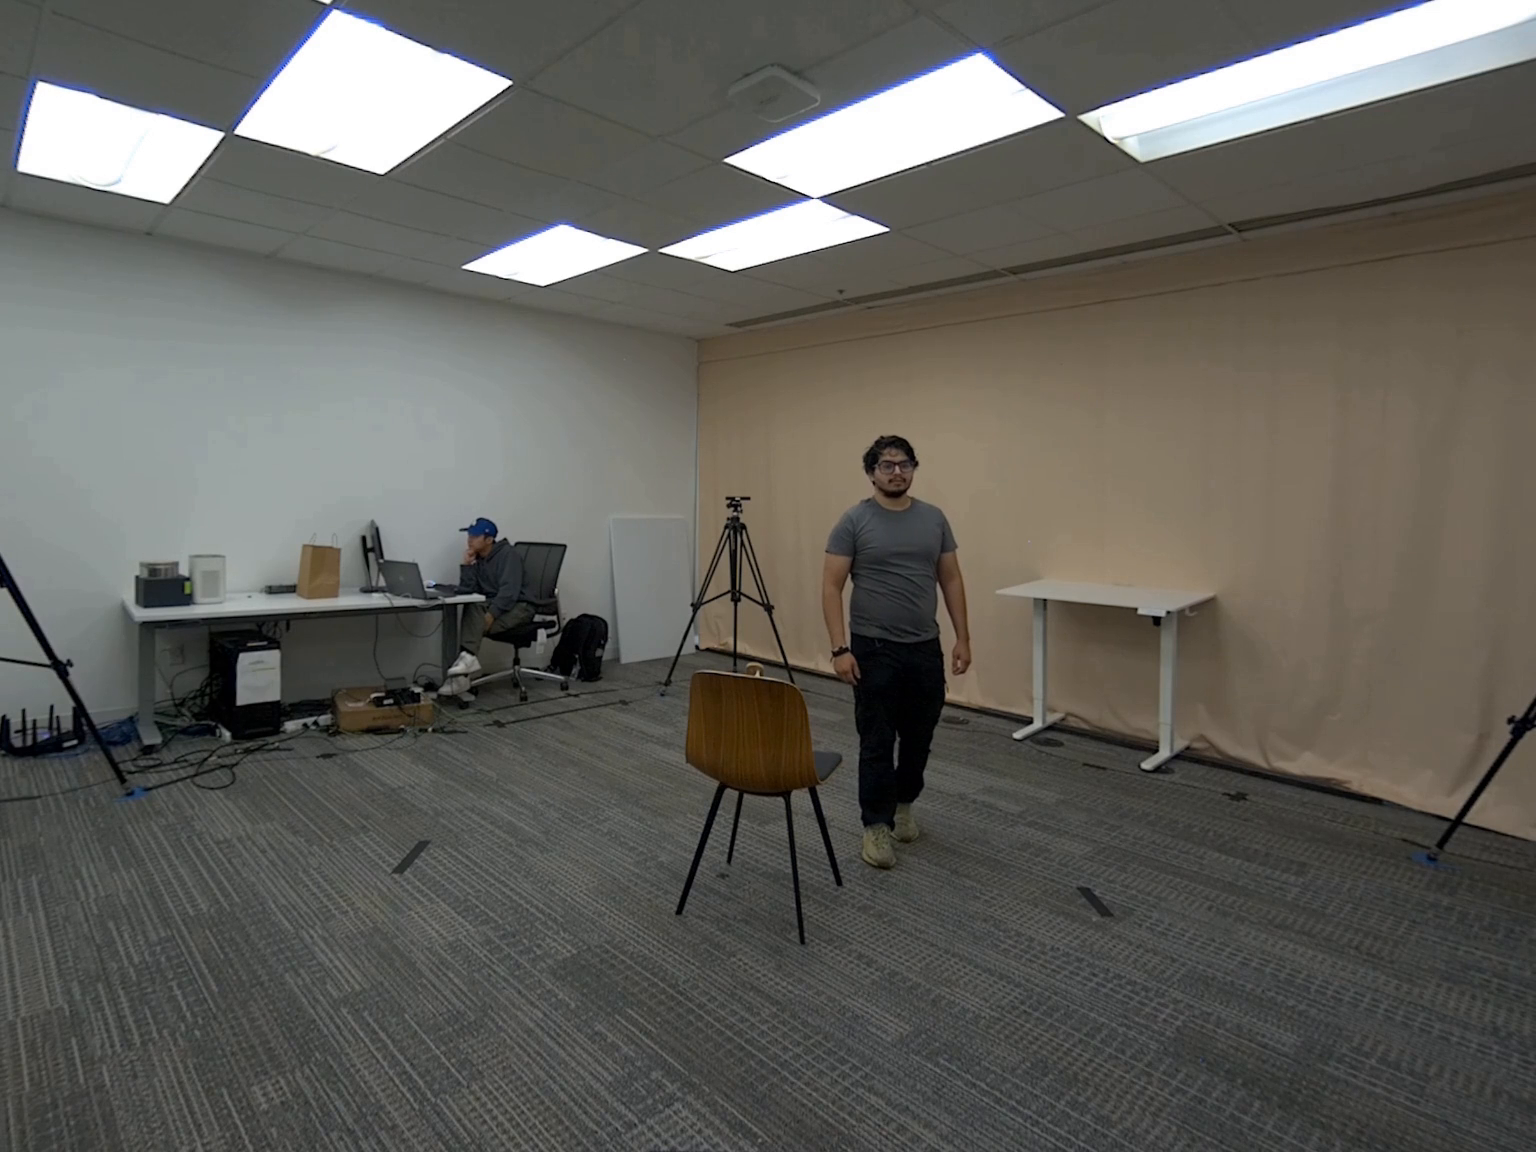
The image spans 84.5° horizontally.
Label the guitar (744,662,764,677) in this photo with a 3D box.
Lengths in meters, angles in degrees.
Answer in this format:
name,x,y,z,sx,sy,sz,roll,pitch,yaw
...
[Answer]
name,x,y,z,sx,sy,sz,roll,pitch,yaw
guitar,-0.076,0.459,2.783,0.195,0.484,0.072,0,46,15
